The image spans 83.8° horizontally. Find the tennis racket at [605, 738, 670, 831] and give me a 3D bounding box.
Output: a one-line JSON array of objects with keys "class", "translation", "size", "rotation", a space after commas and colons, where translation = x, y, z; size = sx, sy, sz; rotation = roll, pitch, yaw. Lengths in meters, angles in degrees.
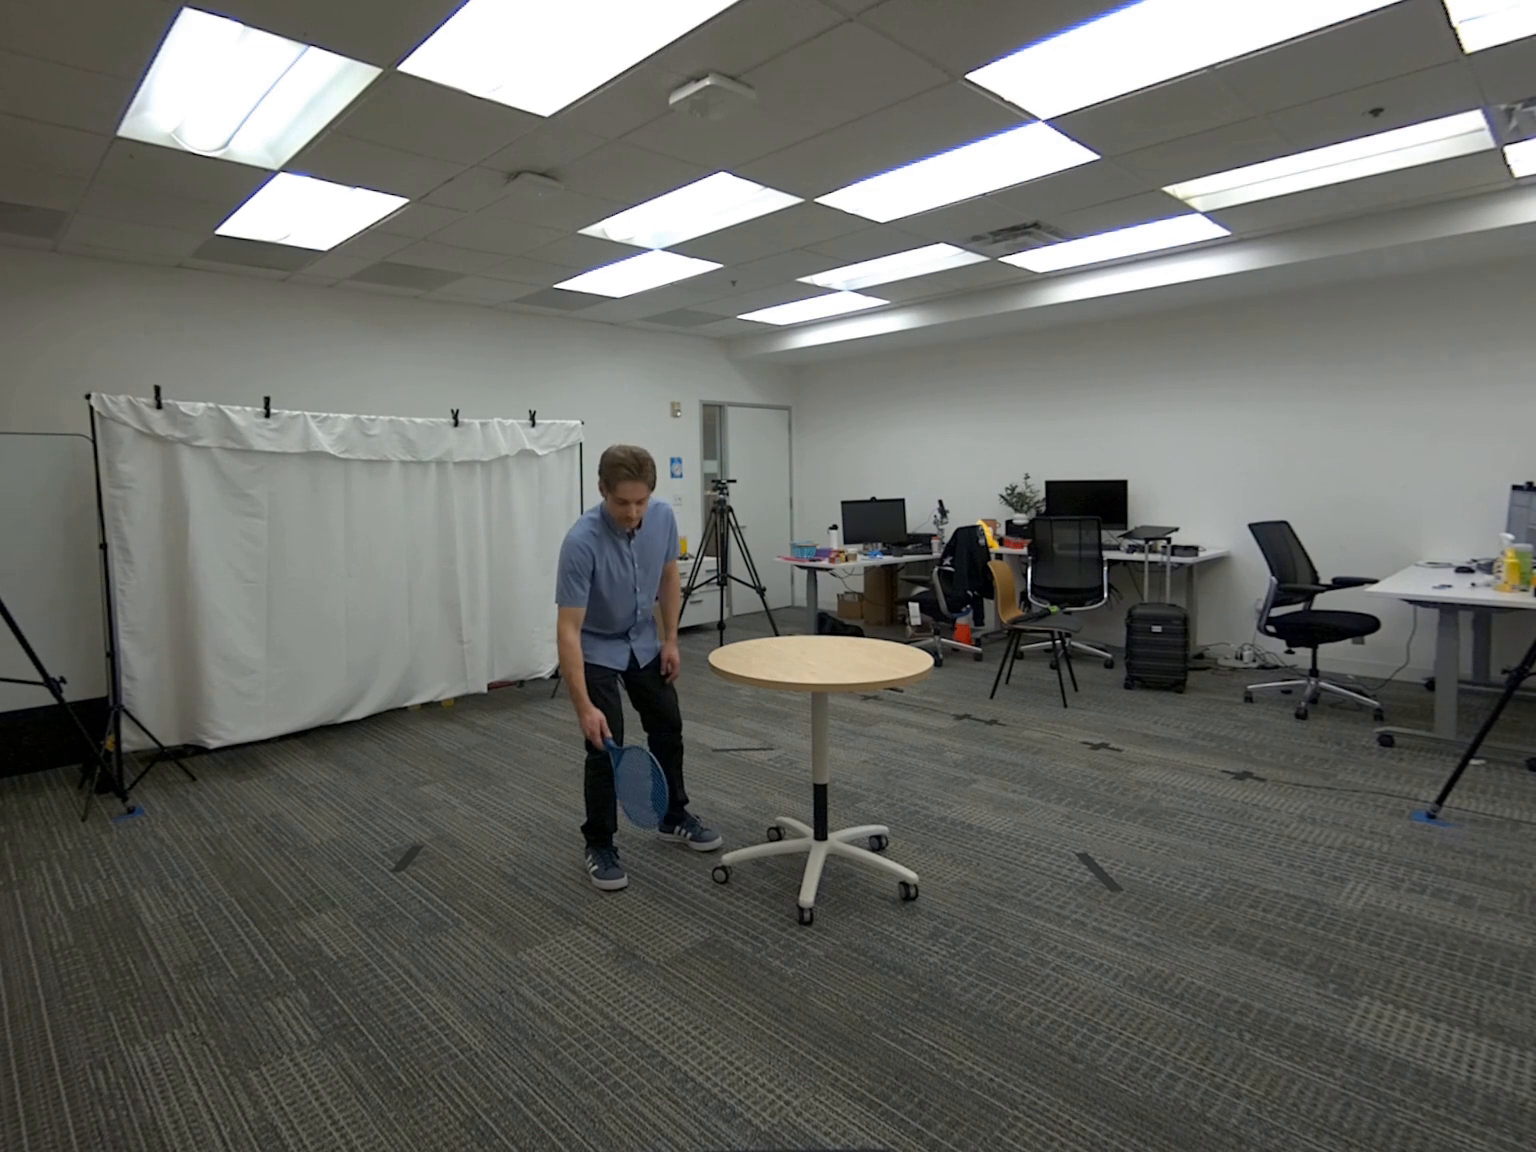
[{"class": "tennis racket", "translation": [-0.429, 0.580, 2.597], "size": [0.031, 0.212, 0.450], "rotation": [8, 24, -46]}]
